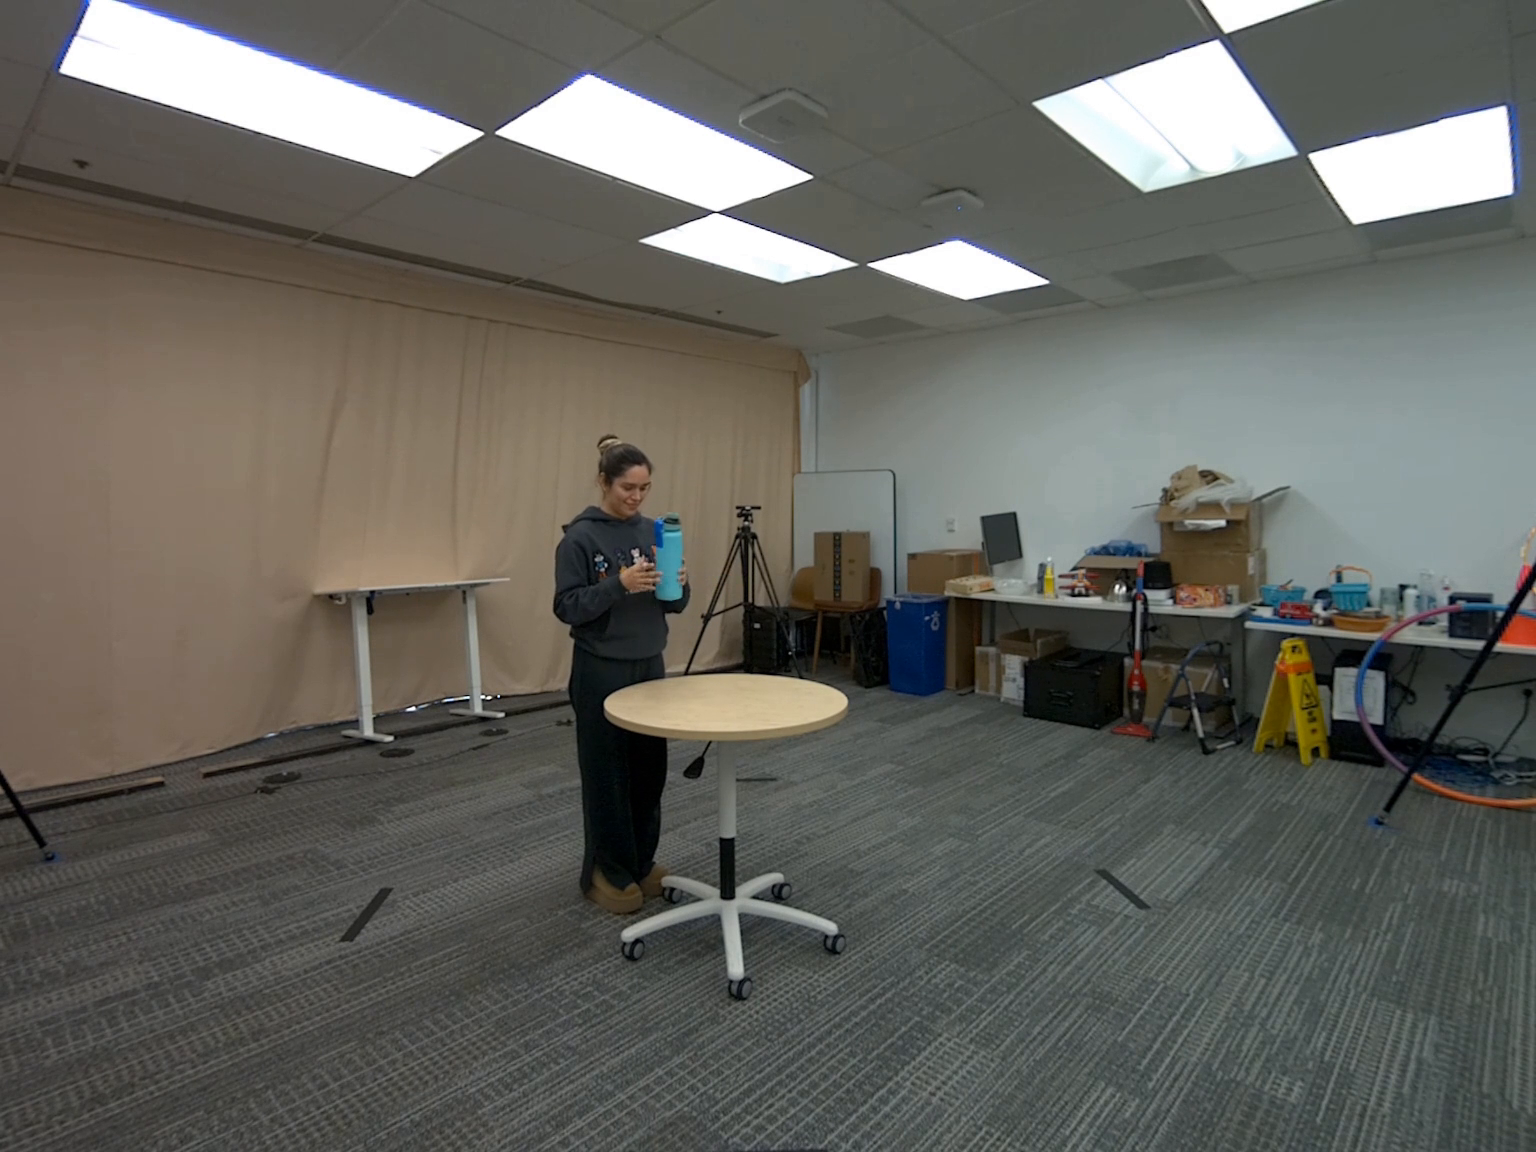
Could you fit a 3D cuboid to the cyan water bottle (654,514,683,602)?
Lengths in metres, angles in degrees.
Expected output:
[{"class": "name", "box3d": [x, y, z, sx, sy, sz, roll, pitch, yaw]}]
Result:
[{"class": "cyan water bottle", "box3d": [-0.332, -0.041, 2.798, 0.092, 0.281, 0.093, -1, 11, -2]}]
